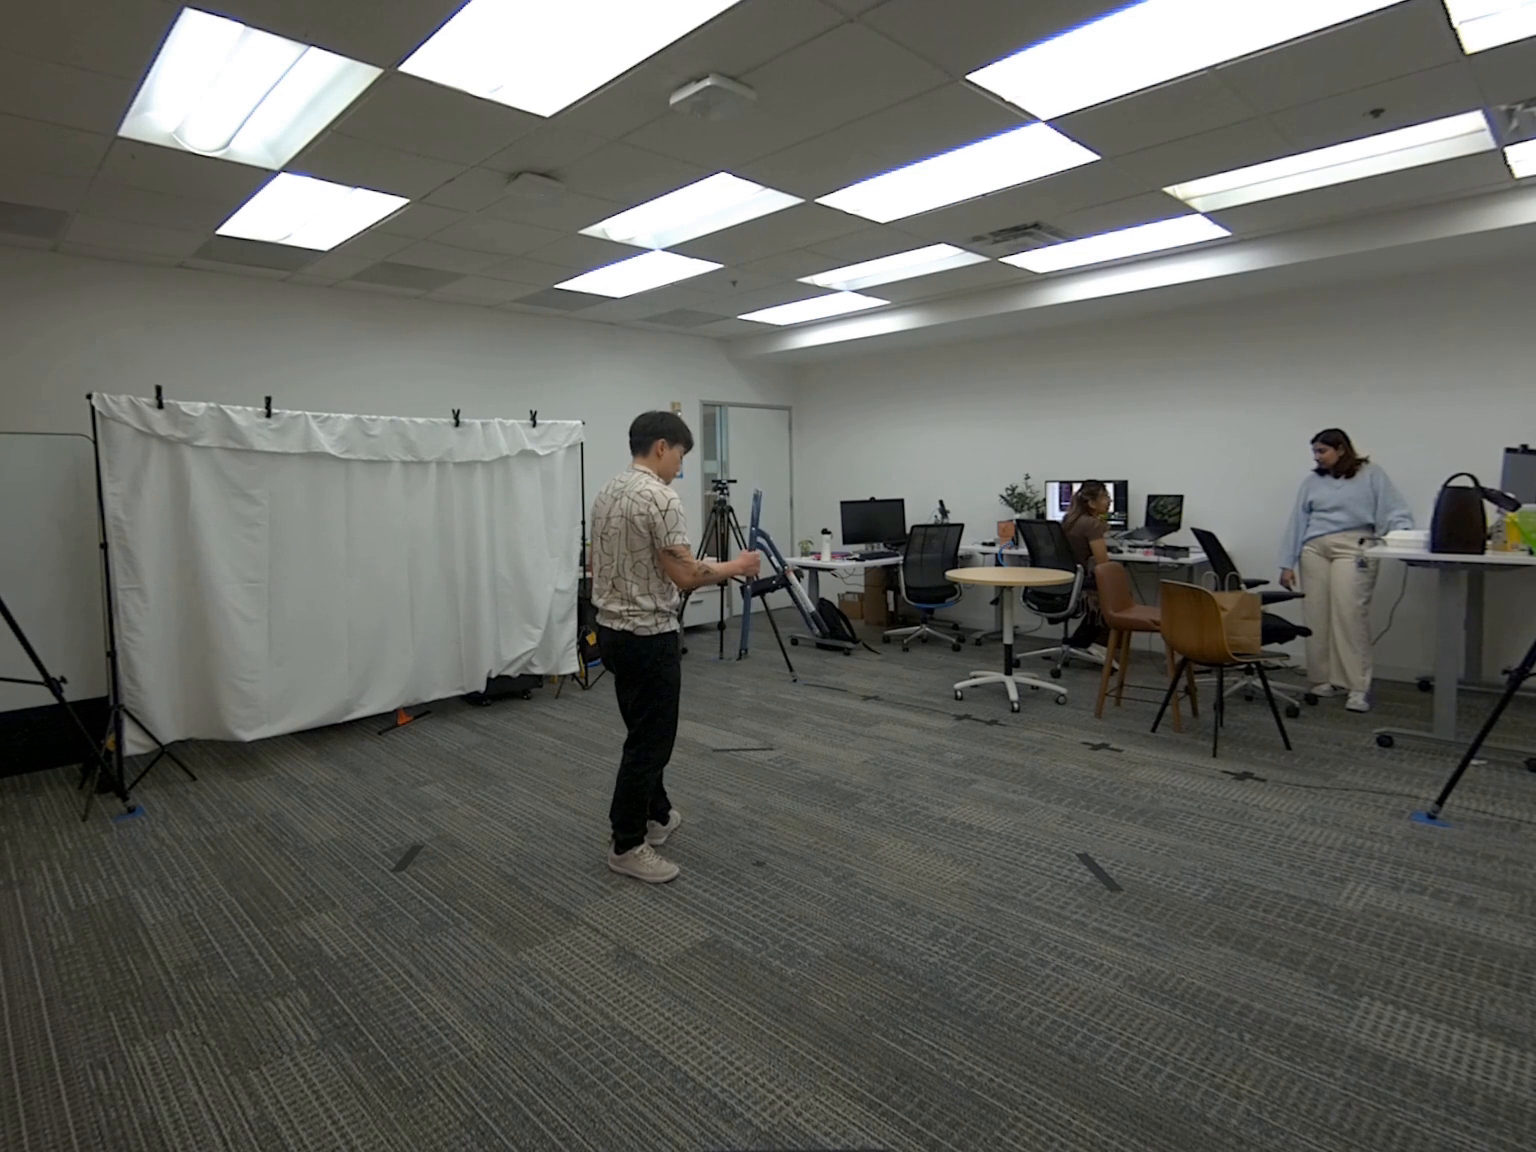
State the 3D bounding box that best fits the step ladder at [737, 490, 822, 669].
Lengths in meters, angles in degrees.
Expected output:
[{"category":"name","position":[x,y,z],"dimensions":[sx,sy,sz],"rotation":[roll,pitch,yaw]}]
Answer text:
[{"category":"step ladder","position":[-0.035,-0.017,3.310],"dimensions":[0.349,0.612,0.427],"rotation":[-15,-7,-2]}]
